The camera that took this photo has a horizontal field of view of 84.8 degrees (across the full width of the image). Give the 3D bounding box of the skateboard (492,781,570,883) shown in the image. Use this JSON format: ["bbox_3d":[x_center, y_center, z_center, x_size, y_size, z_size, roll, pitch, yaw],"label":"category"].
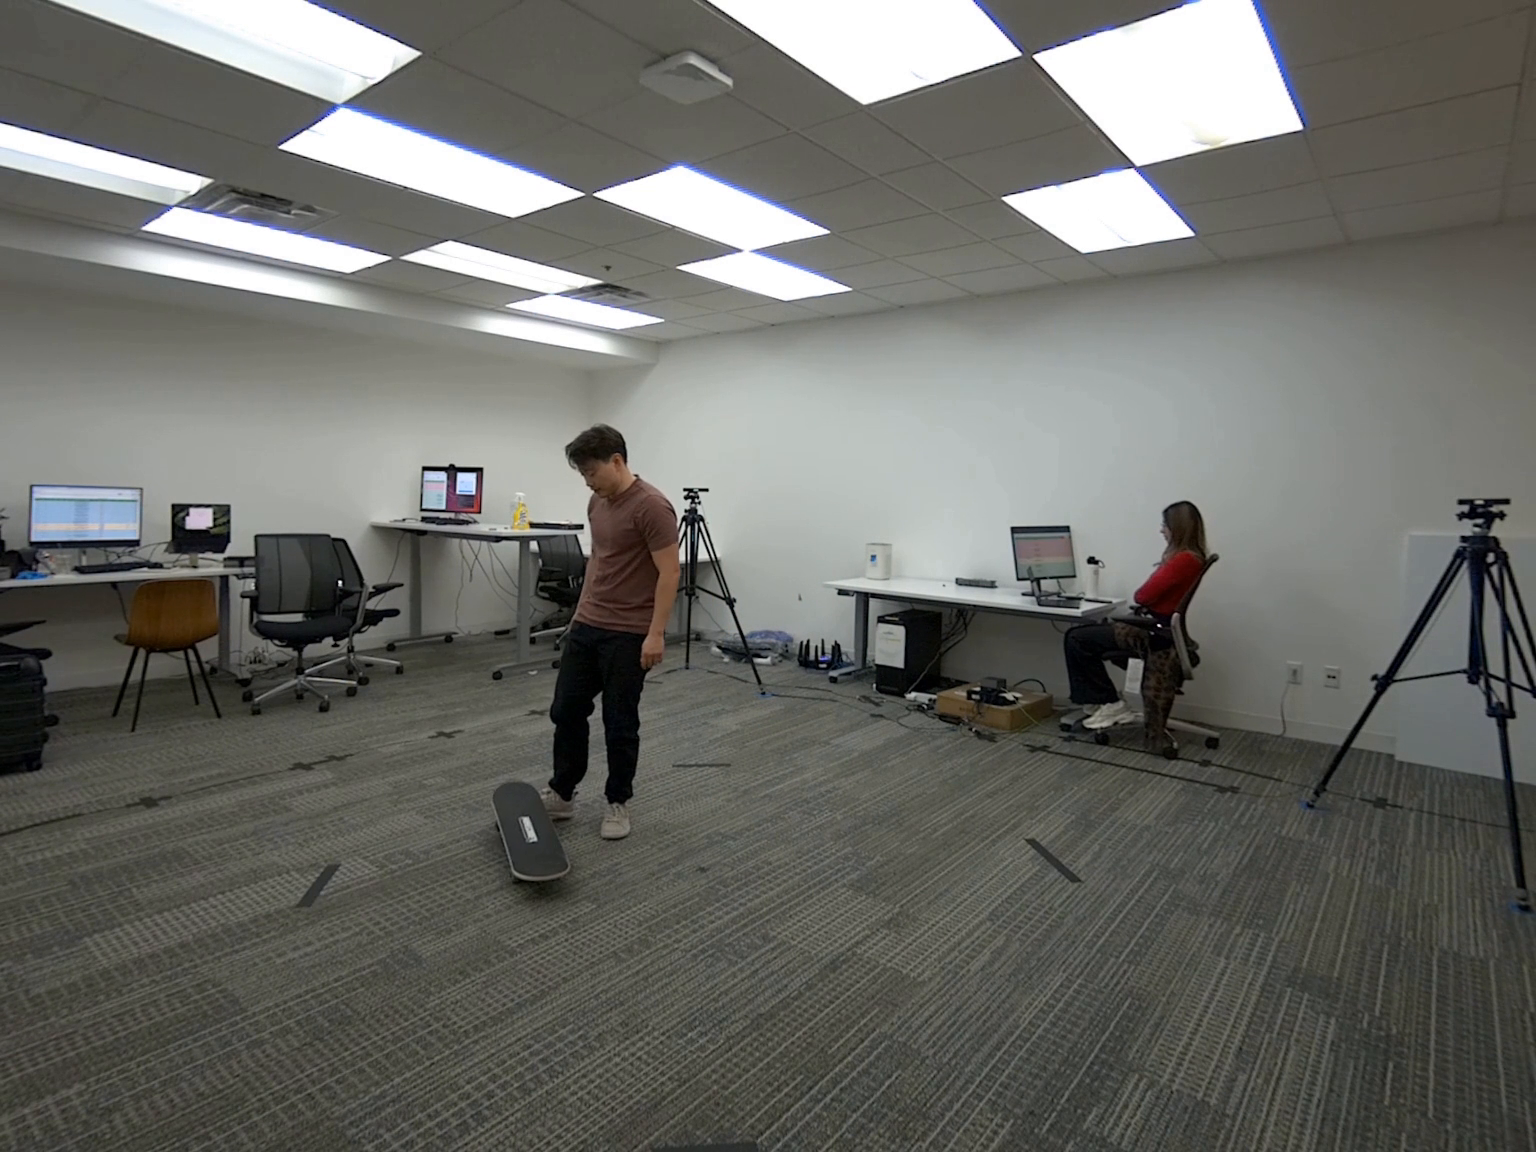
[{"bbox_3d":[-0.912,0.982,3.184,0.189,0.109,0.809,-2,10,-24],"label":"skateboard"}]
